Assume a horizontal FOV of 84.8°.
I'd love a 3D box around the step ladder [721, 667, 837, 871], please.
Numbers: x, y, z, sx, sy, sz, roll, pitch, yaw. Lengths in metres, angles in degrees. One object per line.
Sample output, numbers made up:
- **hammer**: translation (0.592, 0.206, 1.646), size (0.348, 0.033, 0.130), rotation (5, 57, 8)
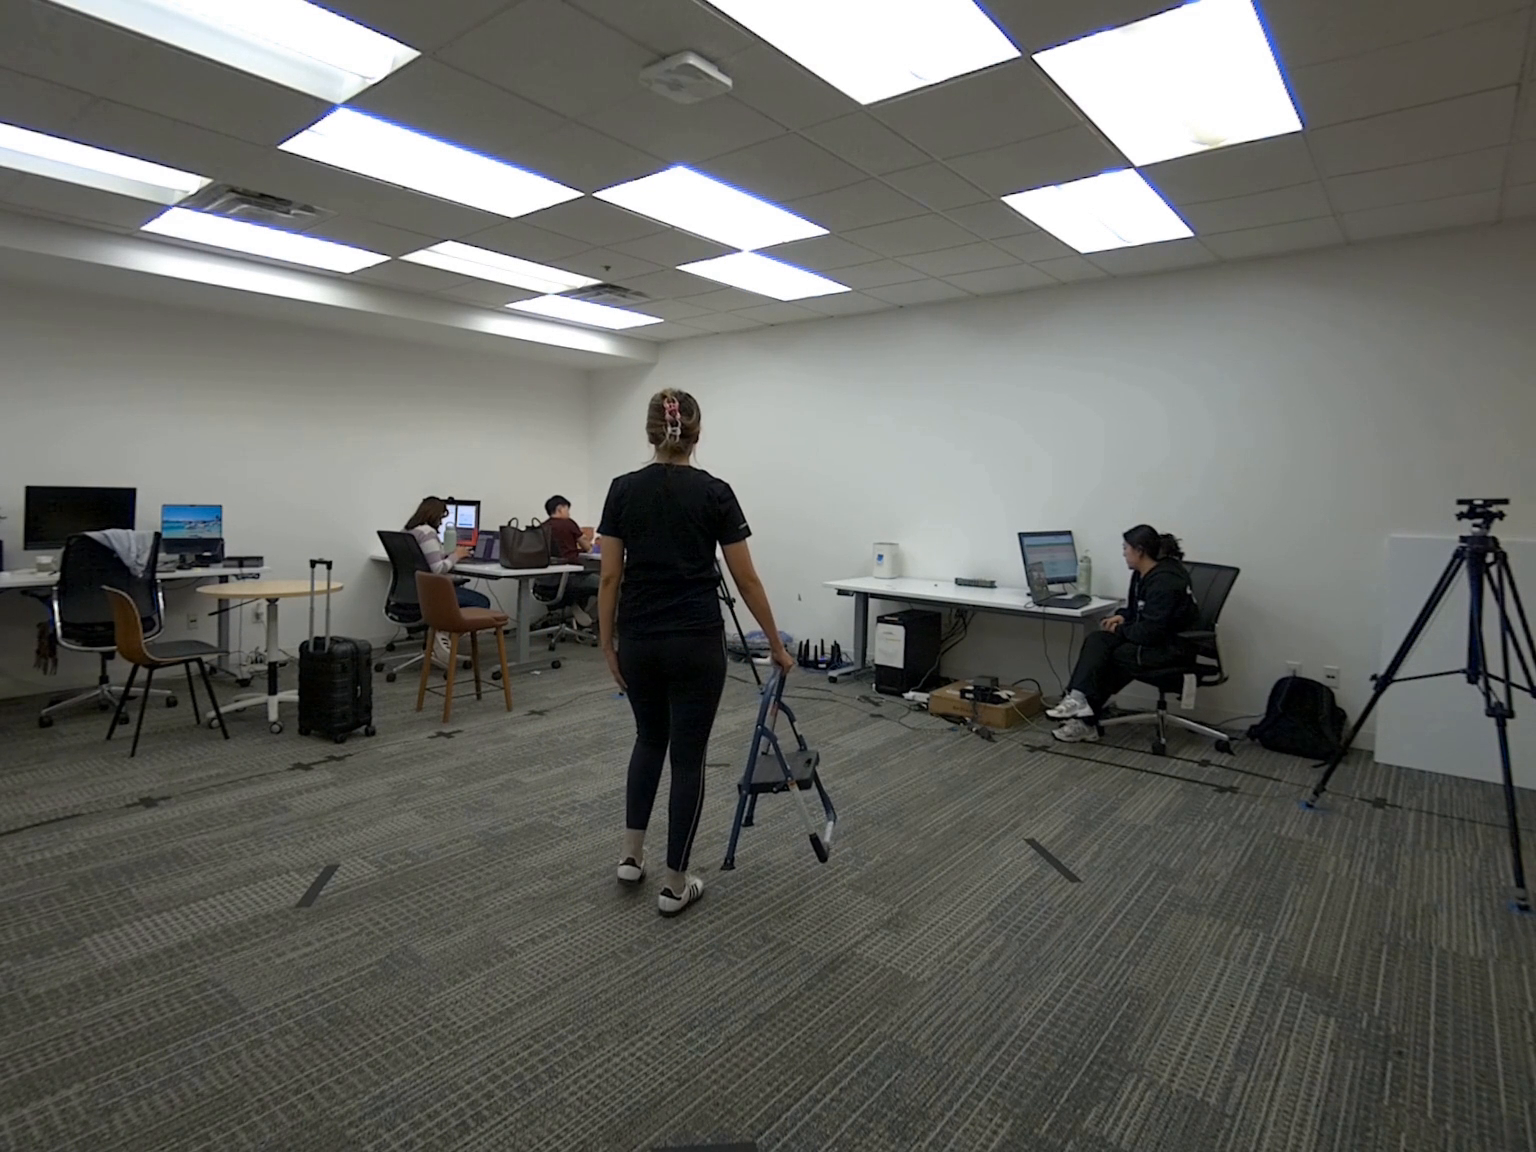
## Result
- **step ladder**: translation (0.001, 0.615, 2.903), size (0.353, 0.606, 0.426), rotation (-8, 1, 10)
